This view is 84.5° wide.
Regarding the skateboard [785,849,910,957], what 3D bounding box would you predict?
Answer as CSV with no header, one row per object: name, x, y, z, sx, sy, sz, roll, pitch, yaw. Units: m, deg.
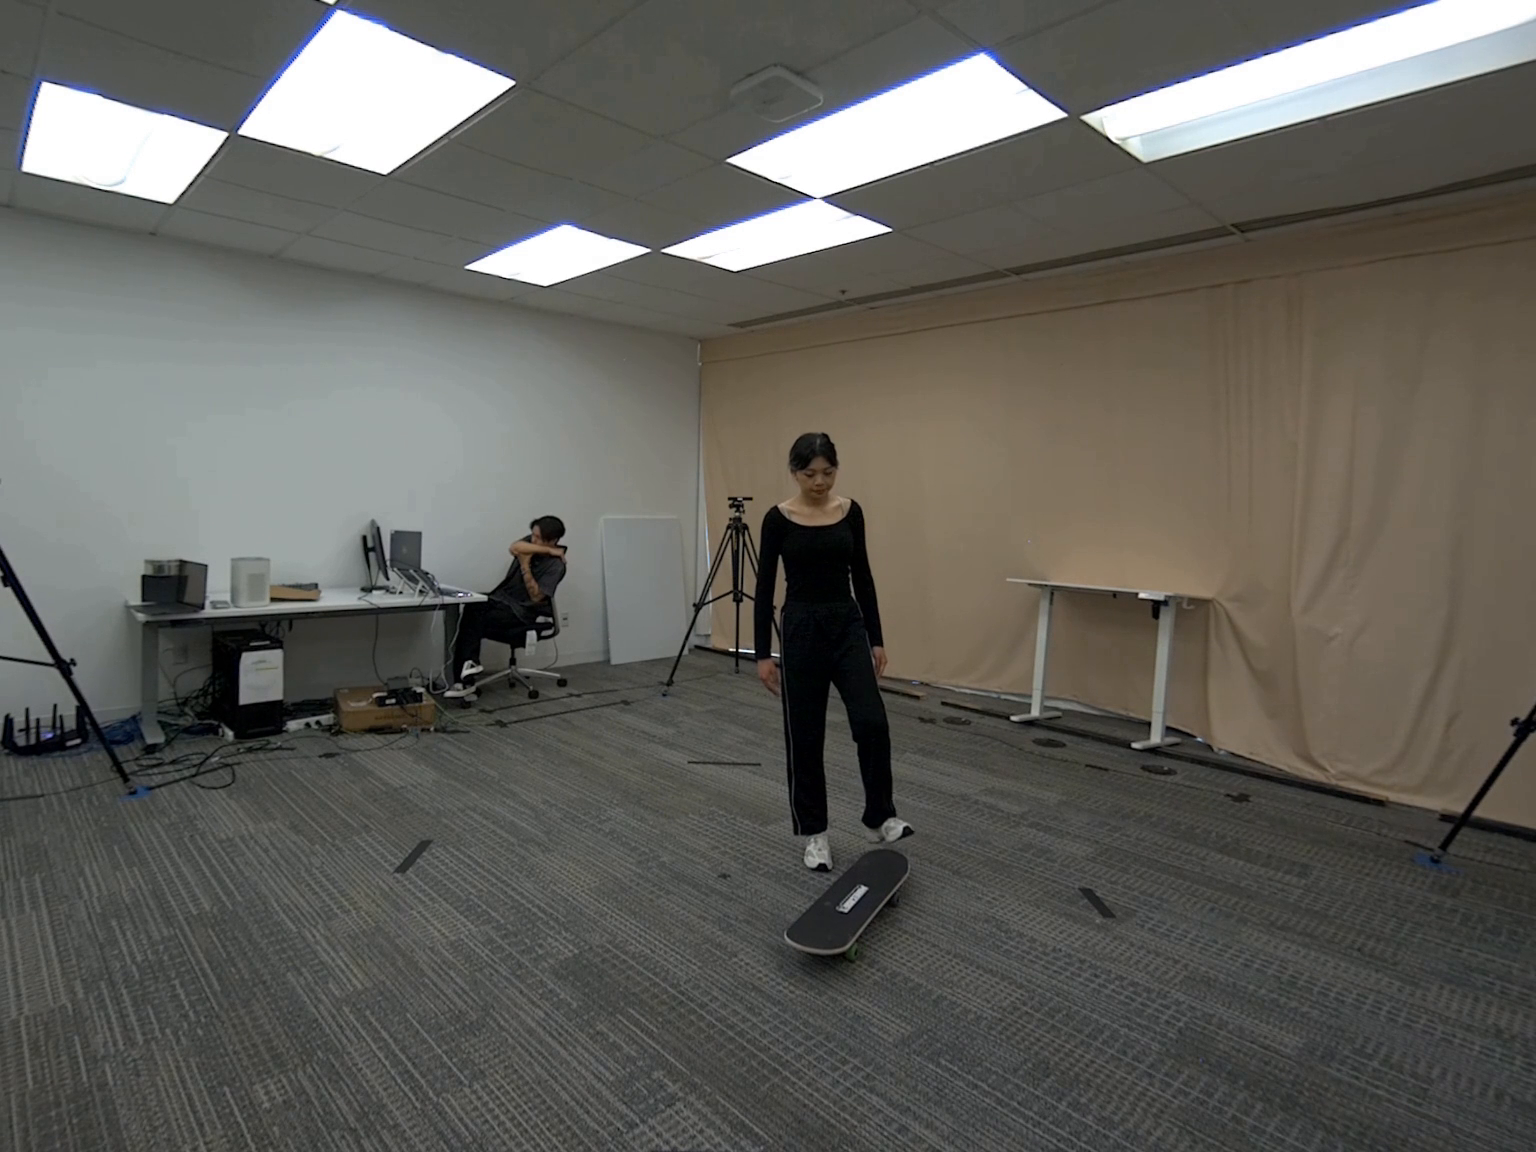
skateboard,0.272,1.090,2.763,0.197,0.110,0.771,3,6,27
